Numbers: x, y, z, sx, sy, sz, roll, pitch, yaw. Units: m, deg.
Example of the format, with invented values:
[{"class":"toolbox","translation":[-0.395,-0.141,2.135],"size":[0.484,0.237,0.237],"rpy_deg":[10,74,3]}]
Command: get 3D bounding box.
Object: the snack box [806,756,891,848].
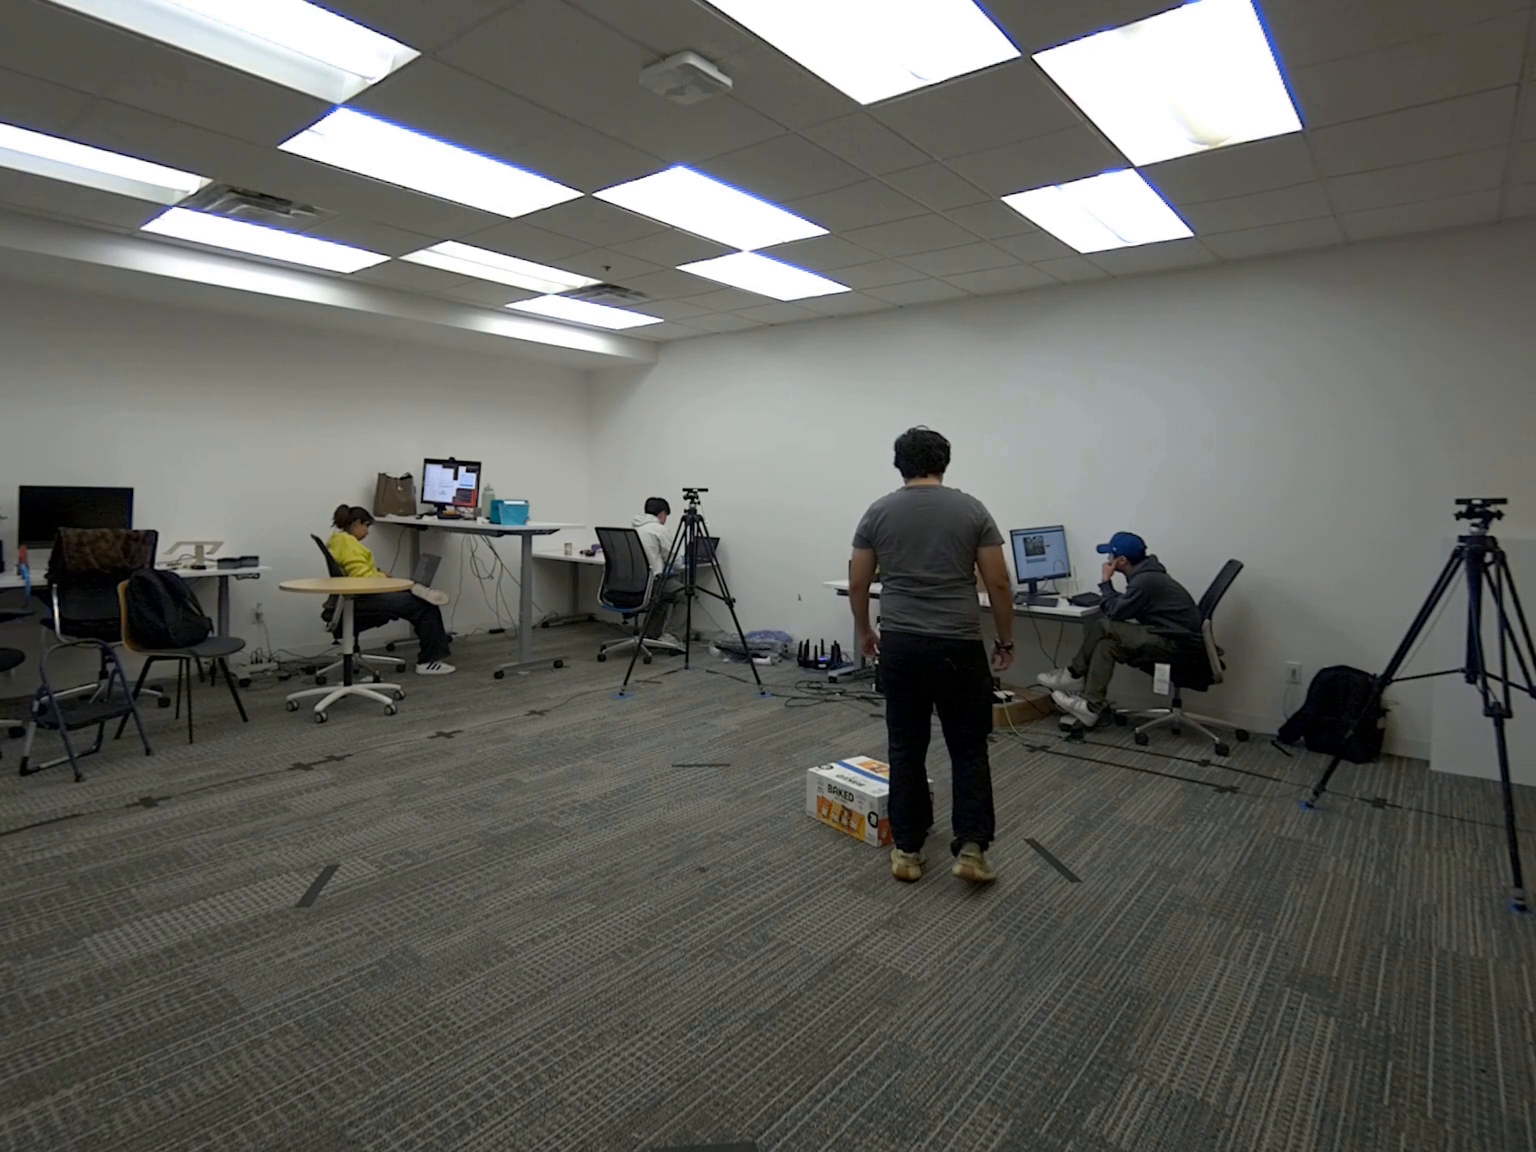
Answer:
[{"class":"snack box","translation":[0.417,0.934,3.587],"size":[0.330,0.205,0.419],"rpy_deg":[-2,7,-39]}]
